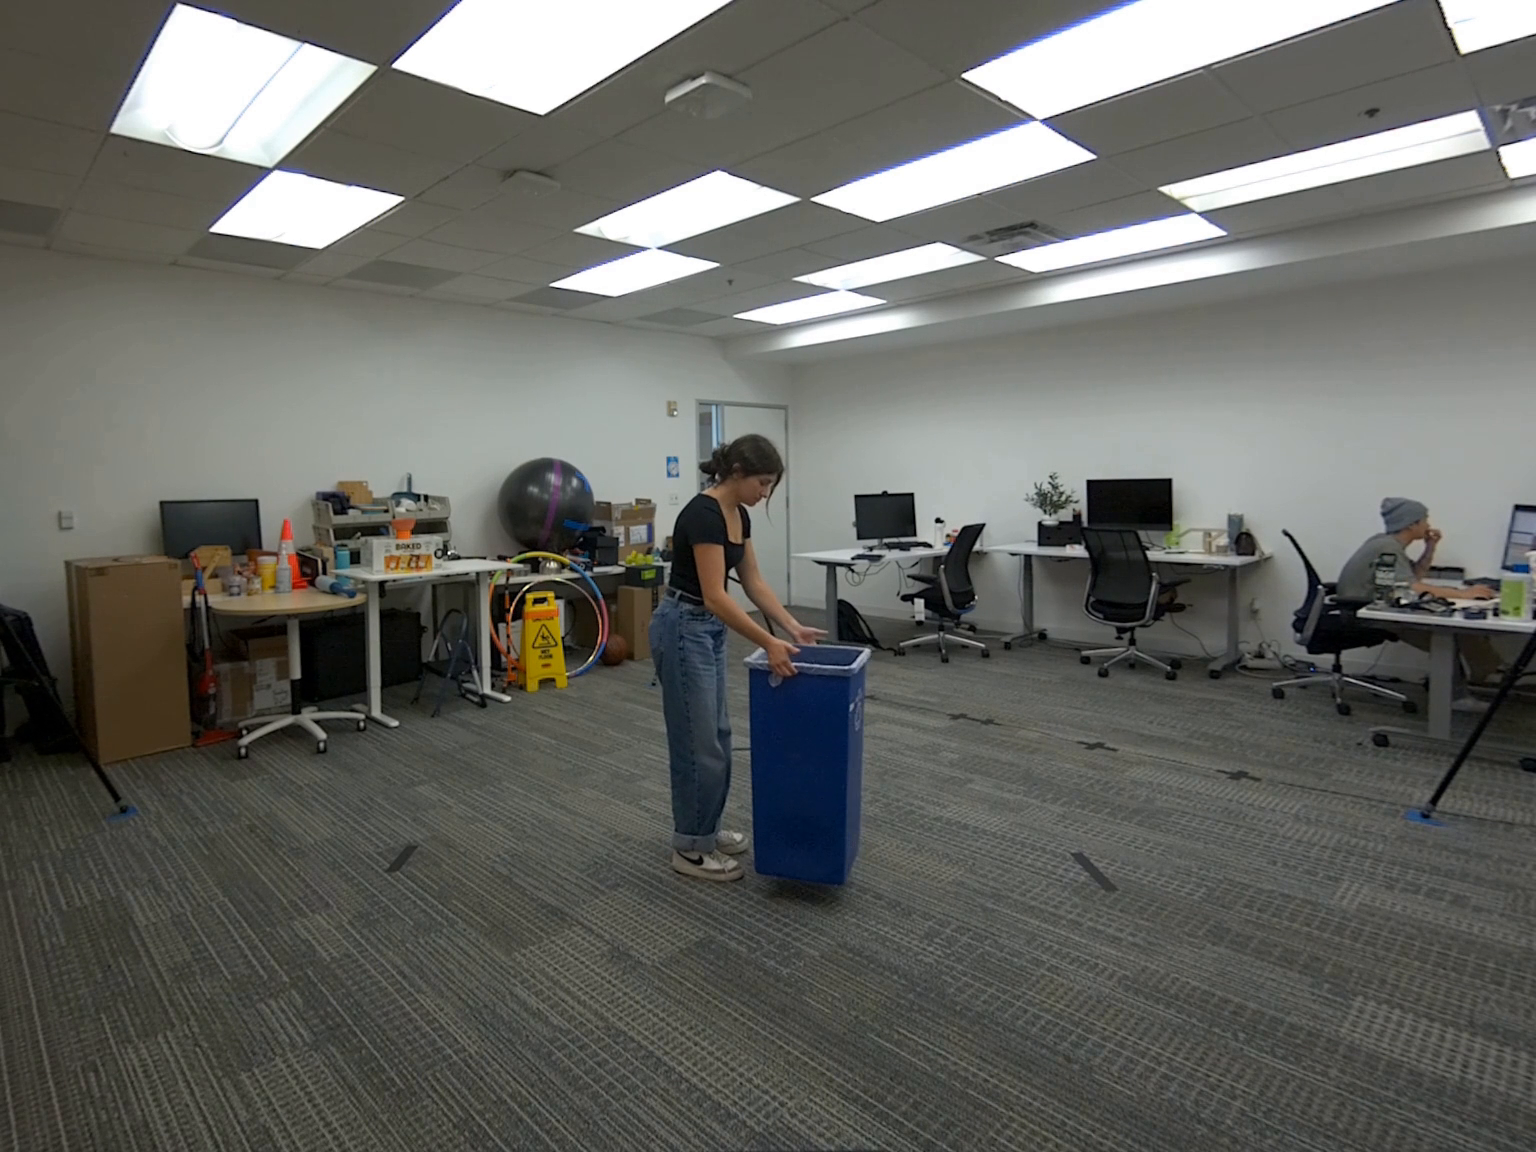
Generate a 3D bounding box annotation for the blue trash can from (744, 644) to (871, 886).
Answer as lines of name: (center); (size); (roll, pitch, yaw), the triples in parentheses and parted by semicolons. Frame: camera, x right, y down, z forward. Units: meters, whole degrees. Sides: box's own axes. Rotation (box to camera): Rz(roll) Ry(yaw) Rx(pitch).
blue trash can: (0.140, 0.620, 2.913); (0.384, 0.711, 0.369); (1, 4, 17)
